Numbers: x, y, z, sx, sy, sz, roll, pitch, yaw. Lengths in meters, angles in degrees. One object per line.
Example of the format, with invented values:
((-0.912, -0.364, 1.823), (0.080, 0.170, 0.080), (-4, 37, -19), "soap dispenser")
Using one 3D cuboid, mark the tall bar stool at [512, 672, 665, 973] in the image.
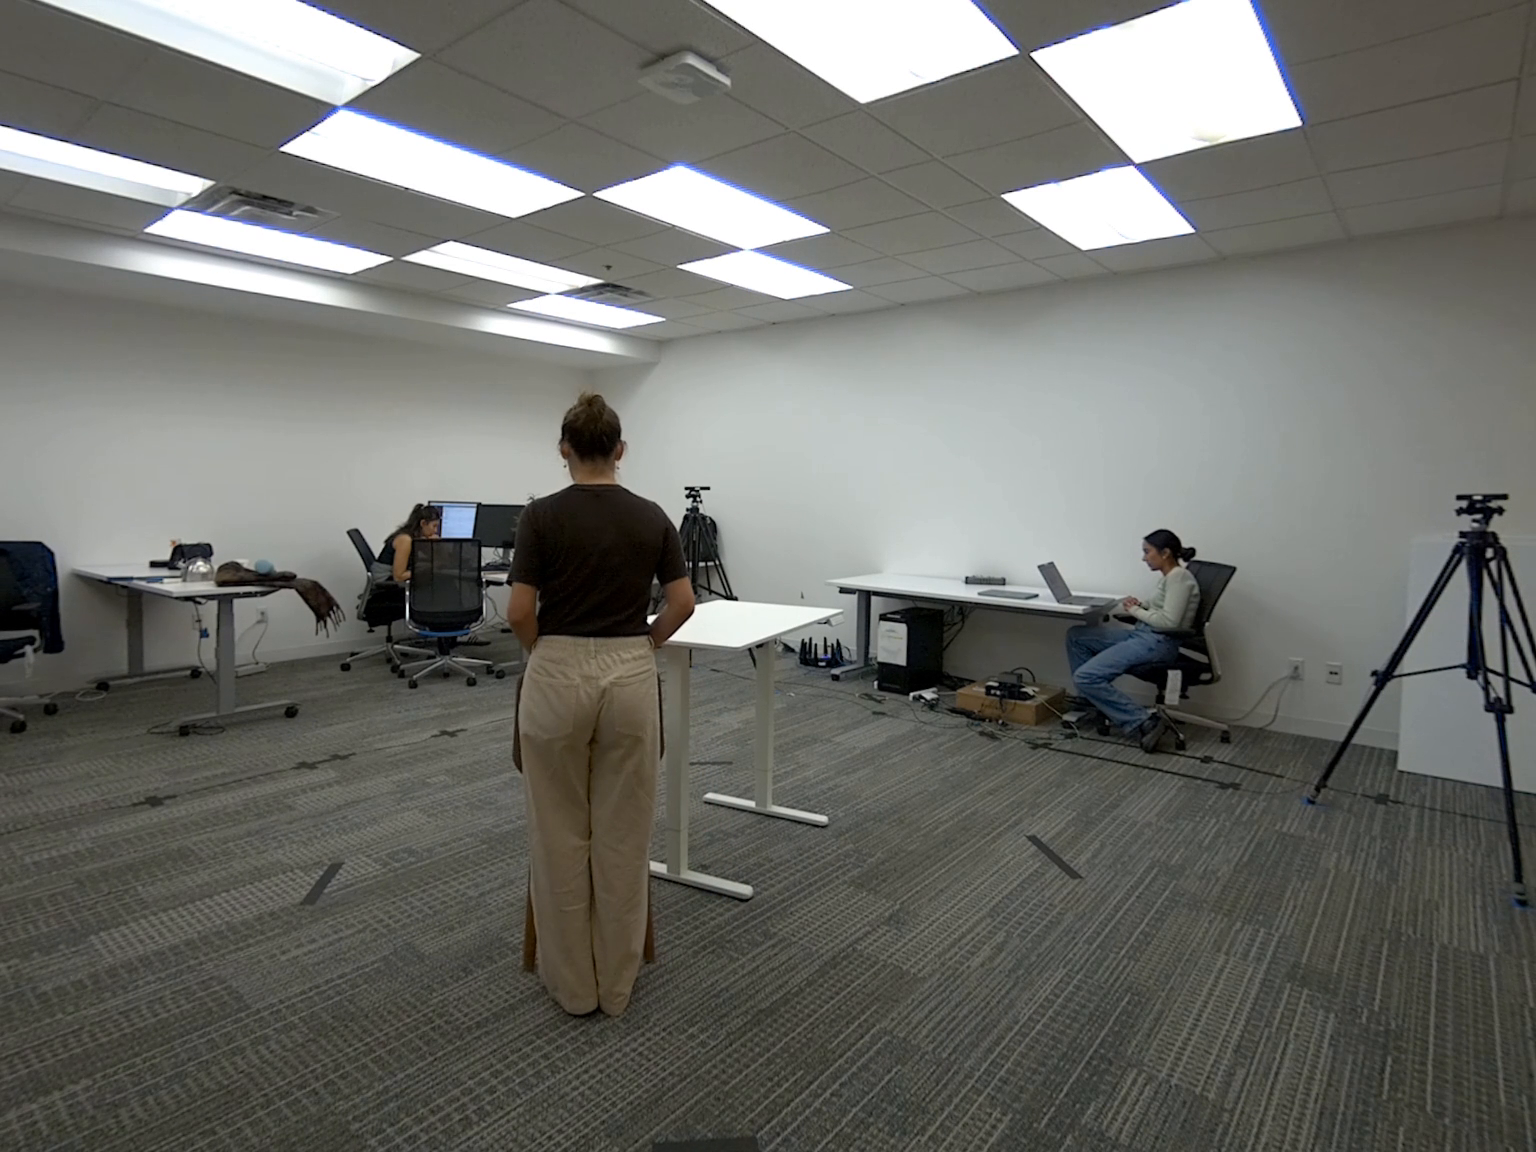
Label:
((-0.573, 0.667, 2.639), (0.452, 0.885, 0.475), (0, 6, -9), "tall bar stool")
